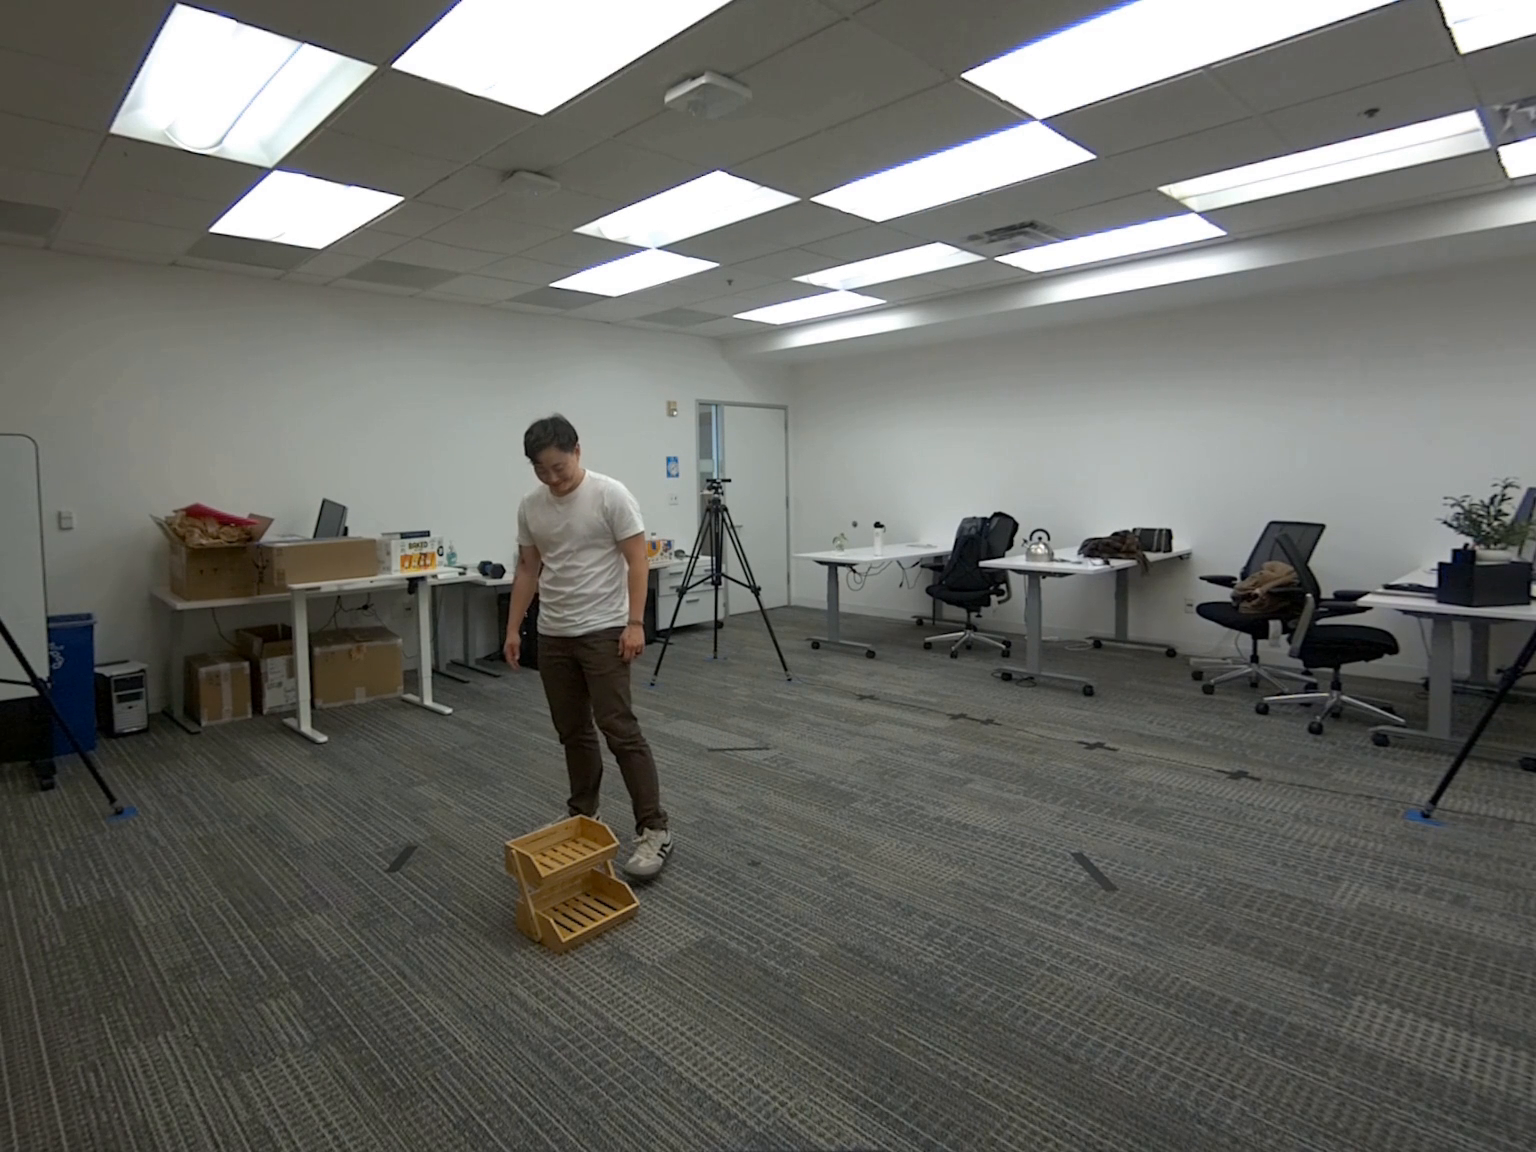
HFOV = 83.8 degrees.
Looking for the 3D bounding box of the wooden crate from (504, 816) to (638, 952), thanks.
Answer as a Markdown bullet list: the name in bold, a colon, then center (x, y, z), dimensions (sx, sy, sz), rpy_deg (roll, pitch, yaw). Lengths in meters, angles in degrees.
- **wooden crate**: center (-0.620, 0.964, 2.723), dimensions (0.311, 0.272, 0.316), rpy_deg (3, 7, 42)
